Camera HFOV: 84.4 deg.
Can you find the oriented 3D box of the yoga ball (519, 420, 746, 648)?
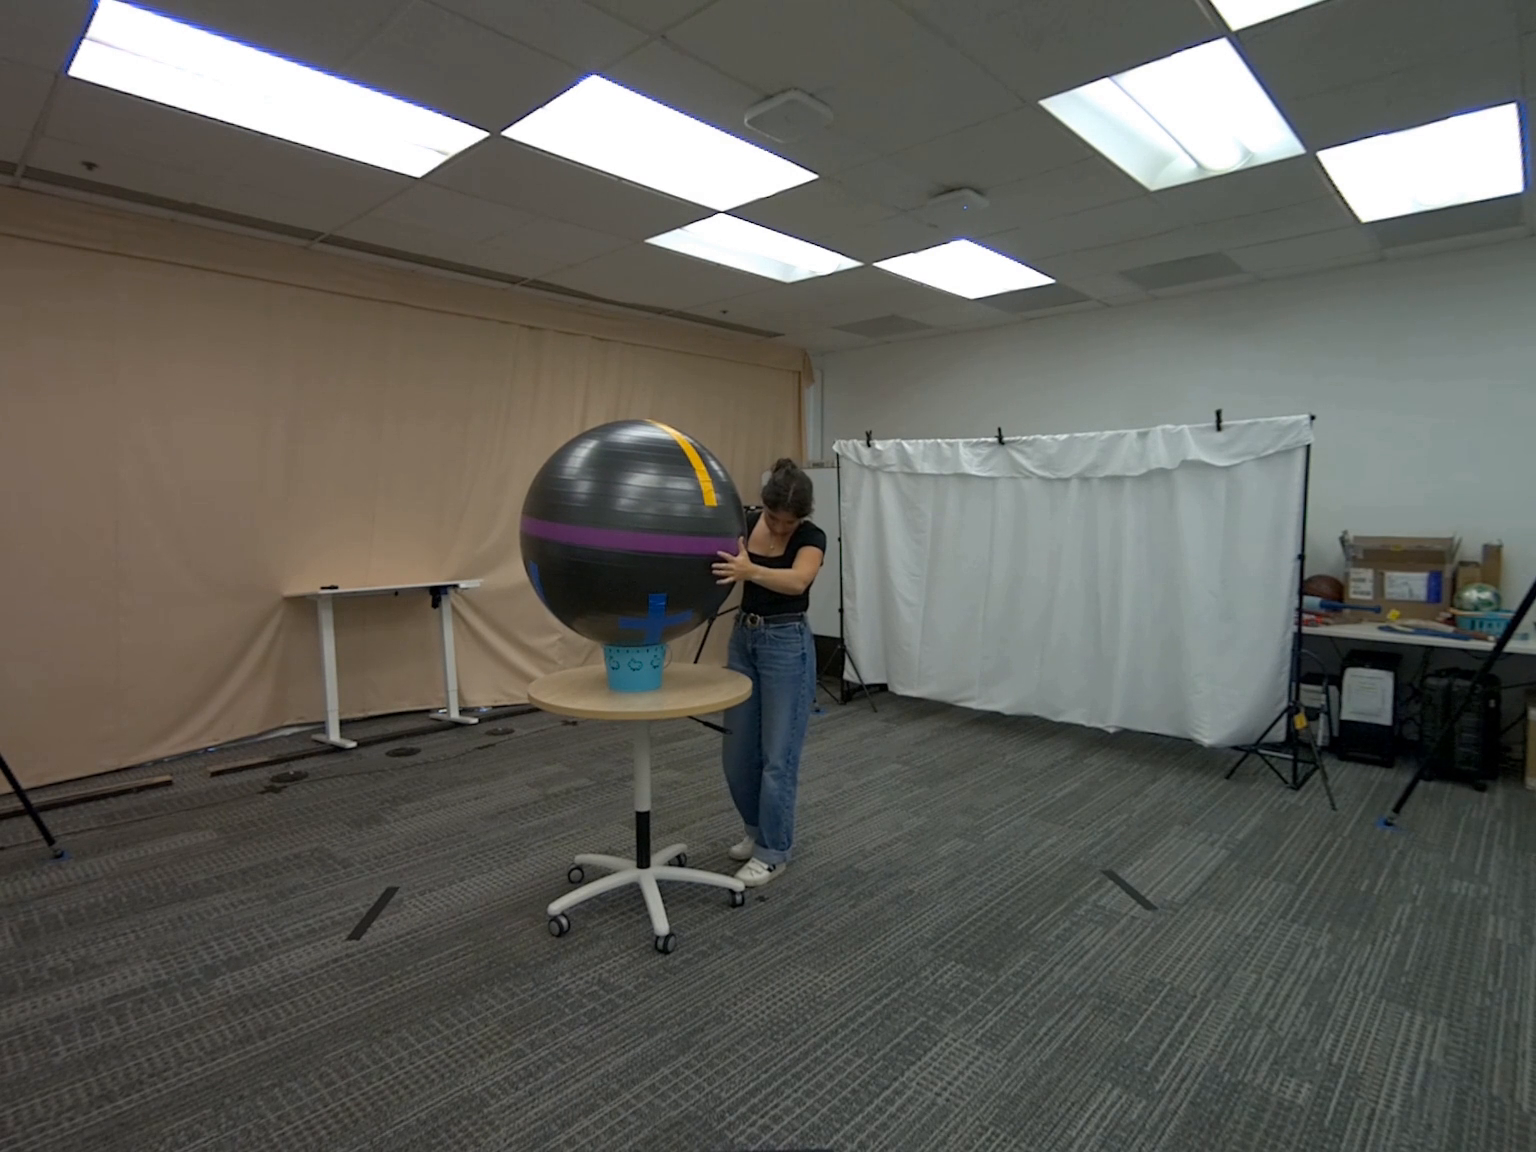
[{"bbox_3d":[-0.454,-0.140,2.839,0.757,0.756,0.760,0,4,-2],"label":"yoga ball"}]
